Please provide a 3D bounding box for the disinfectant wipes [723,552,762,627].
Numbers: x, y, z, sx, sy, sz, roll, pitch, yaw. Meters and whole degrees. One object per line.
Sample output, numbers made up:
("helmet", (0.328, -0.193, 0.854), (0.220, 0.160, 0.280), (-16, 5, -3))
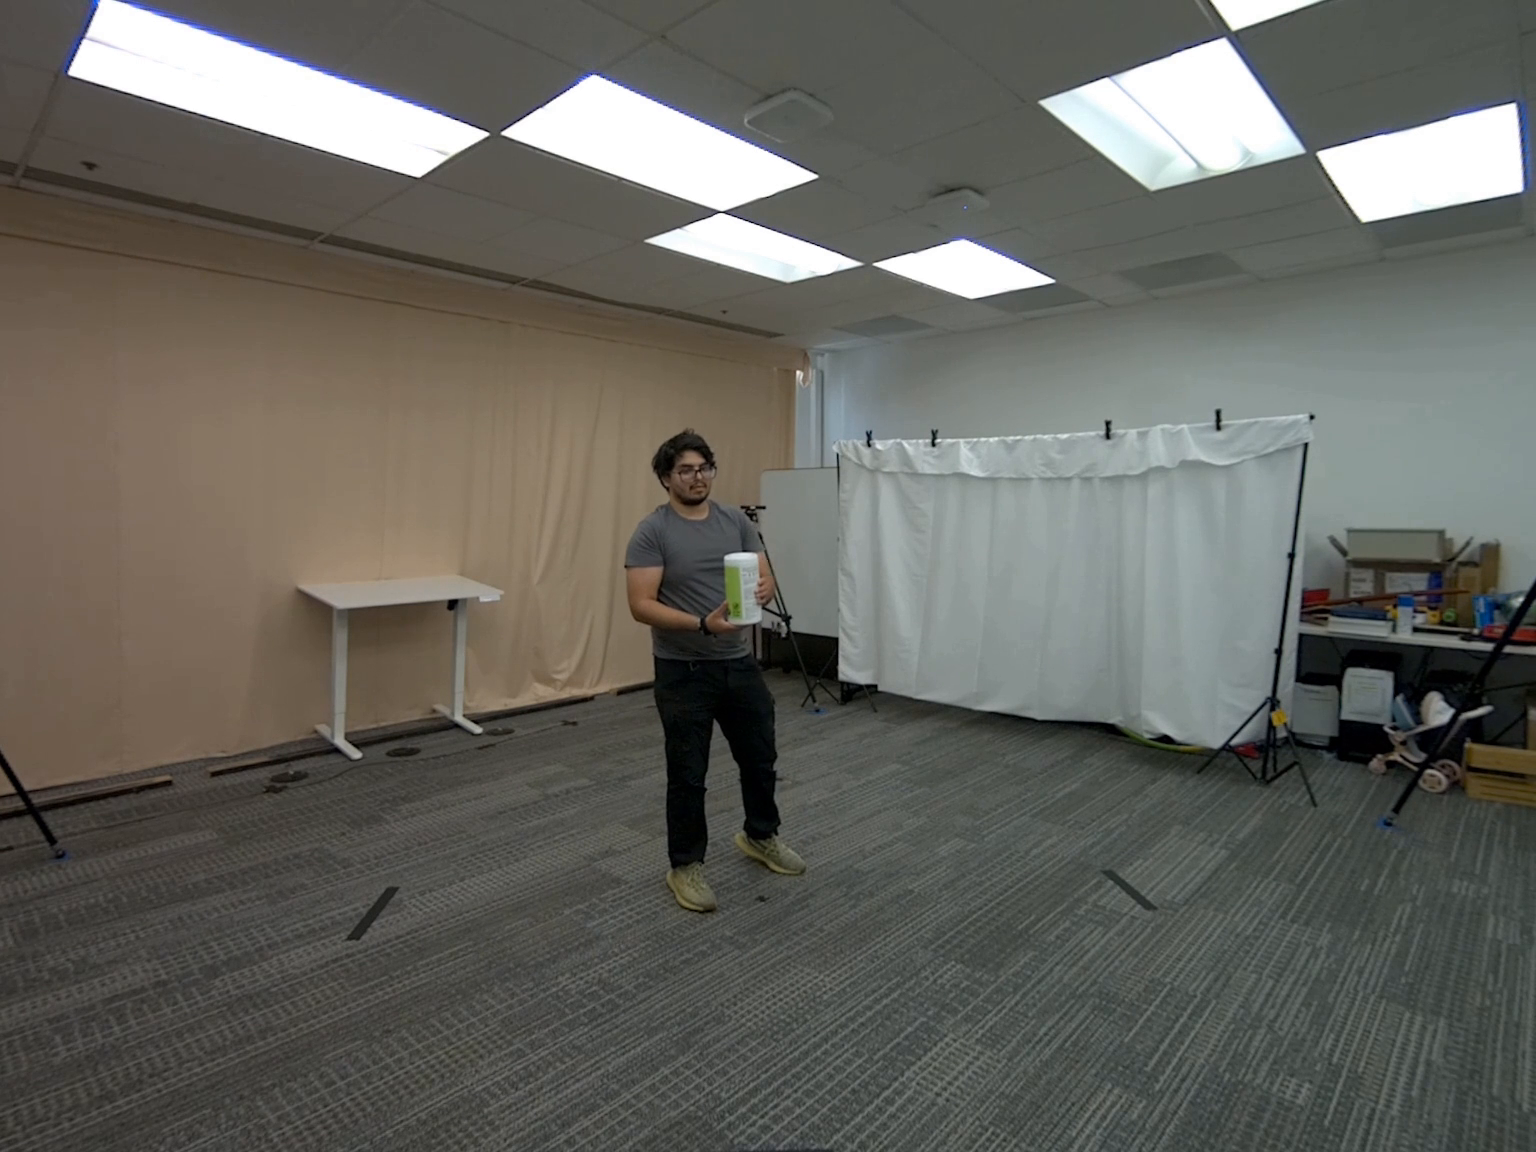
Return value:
("disinfectant wipes", (-0.085, 0.039, 2.663), (0.118, 0.216, 0.118), (0, 8, -2))
